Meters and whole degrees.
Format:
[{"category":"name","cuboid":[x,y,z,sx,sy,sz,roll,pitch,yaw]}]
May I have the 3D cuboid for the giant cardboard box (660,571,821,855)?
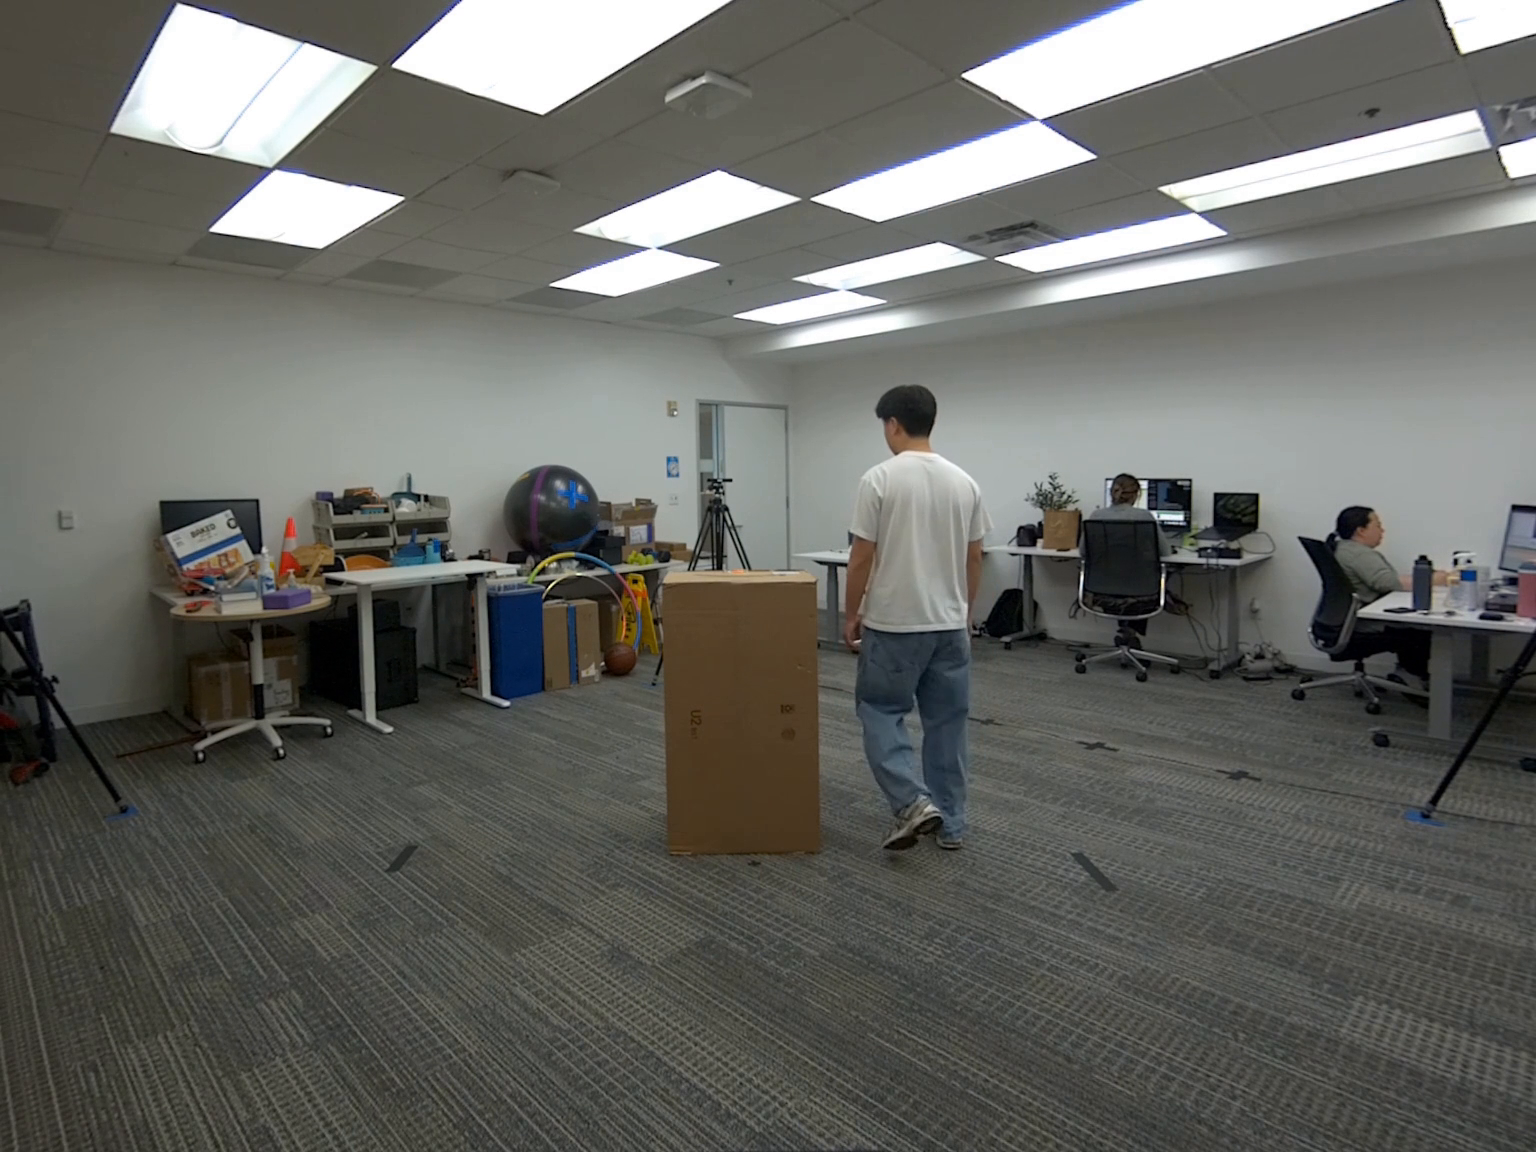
[{"category":"giant cardboard box","cuboid":[-0.103,0.509,3.364,0.577,1.022,0.428,-1,4,-1]}]
